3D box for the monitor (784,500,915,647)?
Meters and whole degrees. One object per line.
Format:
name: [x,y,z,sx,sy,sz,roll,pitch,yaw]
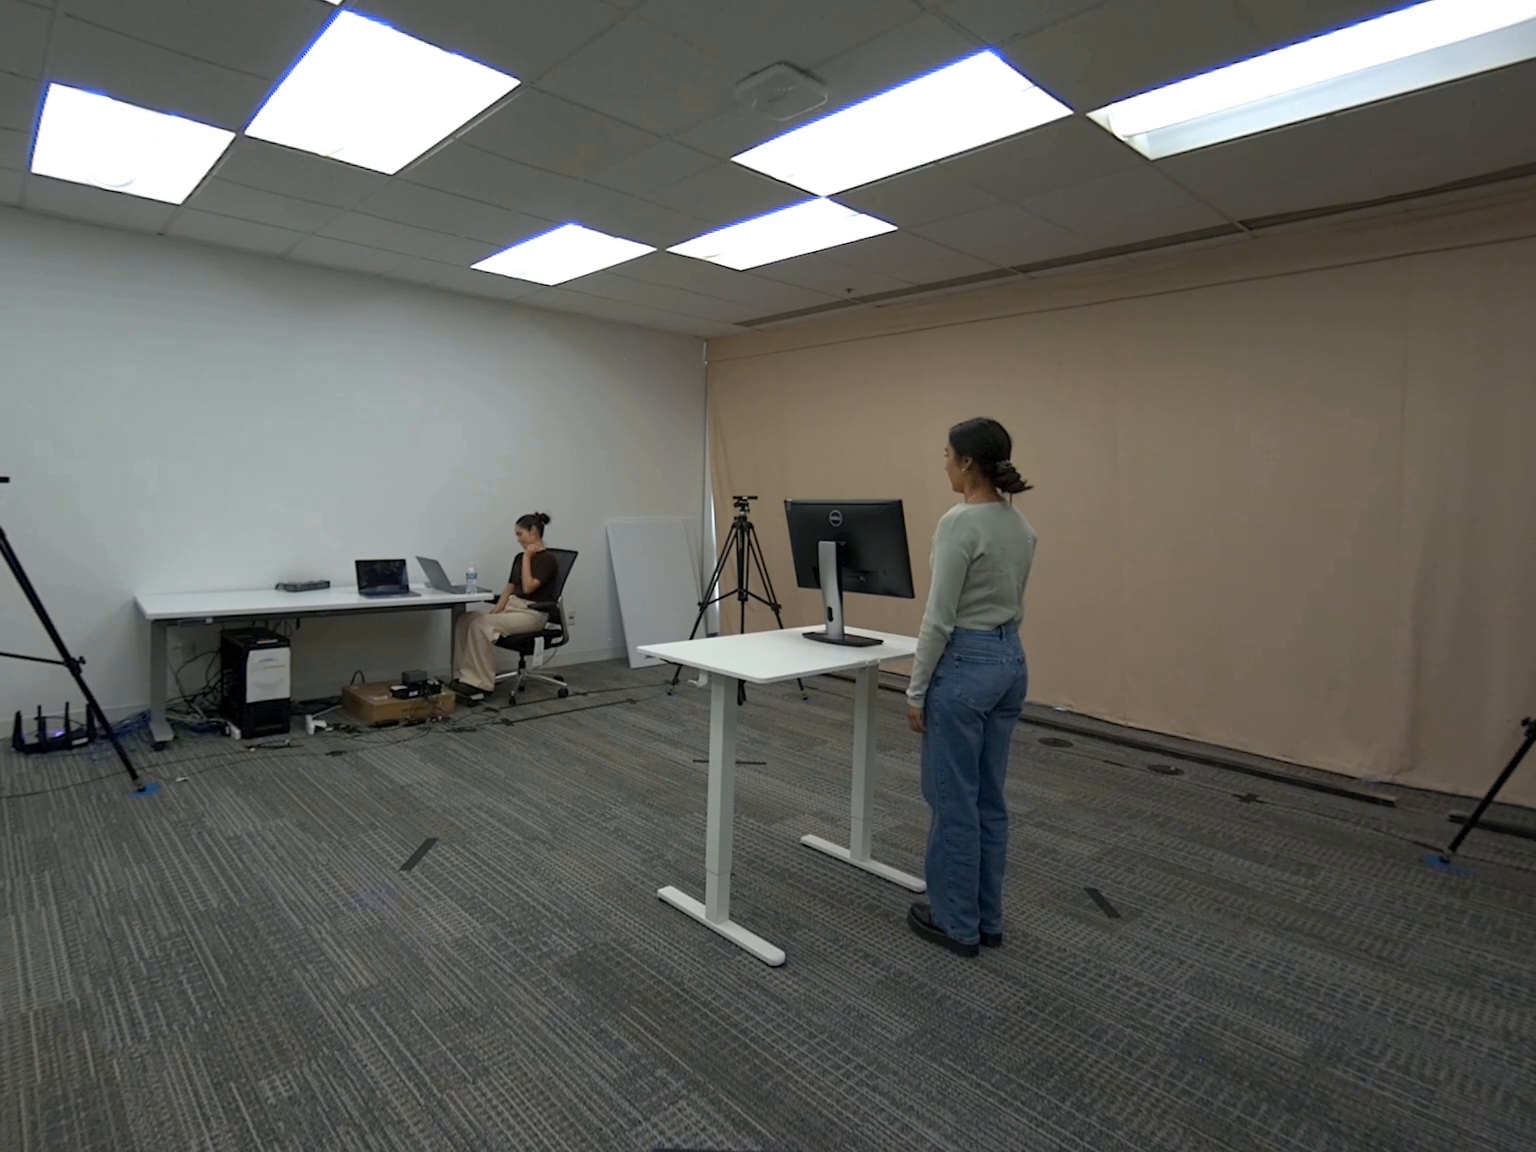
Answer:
monitor: [0.264,-0.020,3.042,0.543,0.516,0.170,3,1,44]
